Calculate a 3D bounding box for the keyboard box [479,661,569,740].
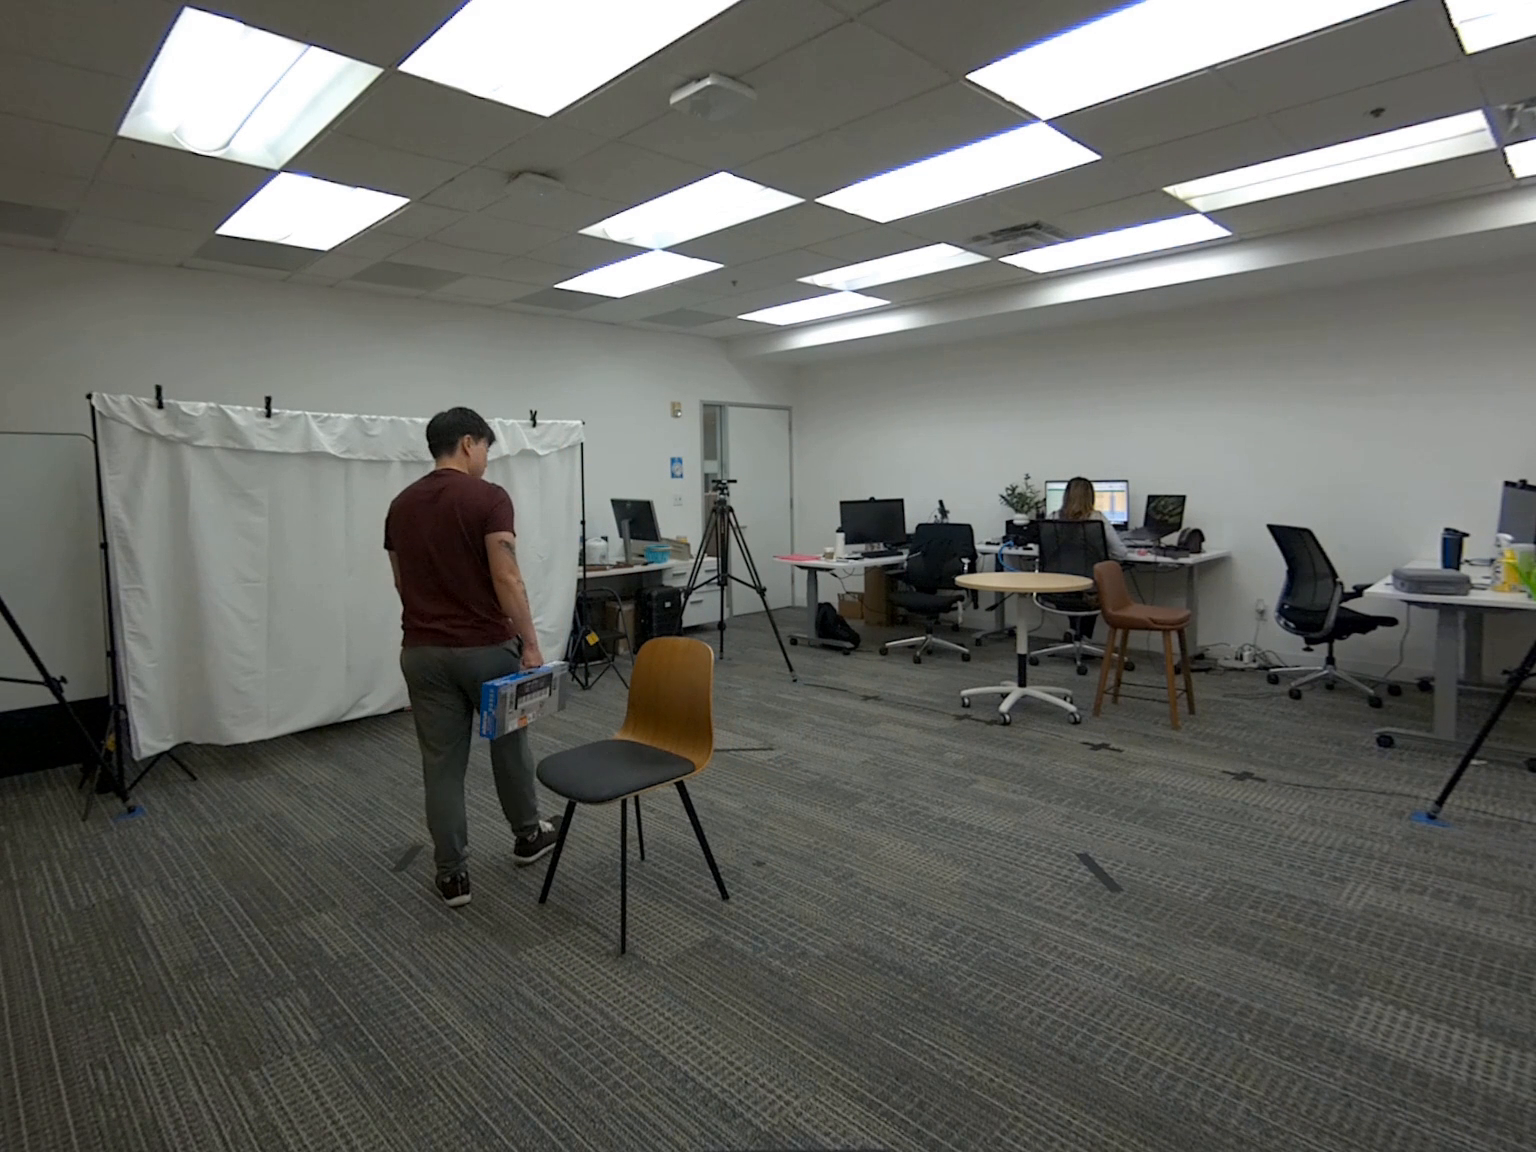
[{"bbox_3d":[-0.810,0.409,2.886,0.060,0.176,0.430,5,3,14],"label":"keyboard box"}]
